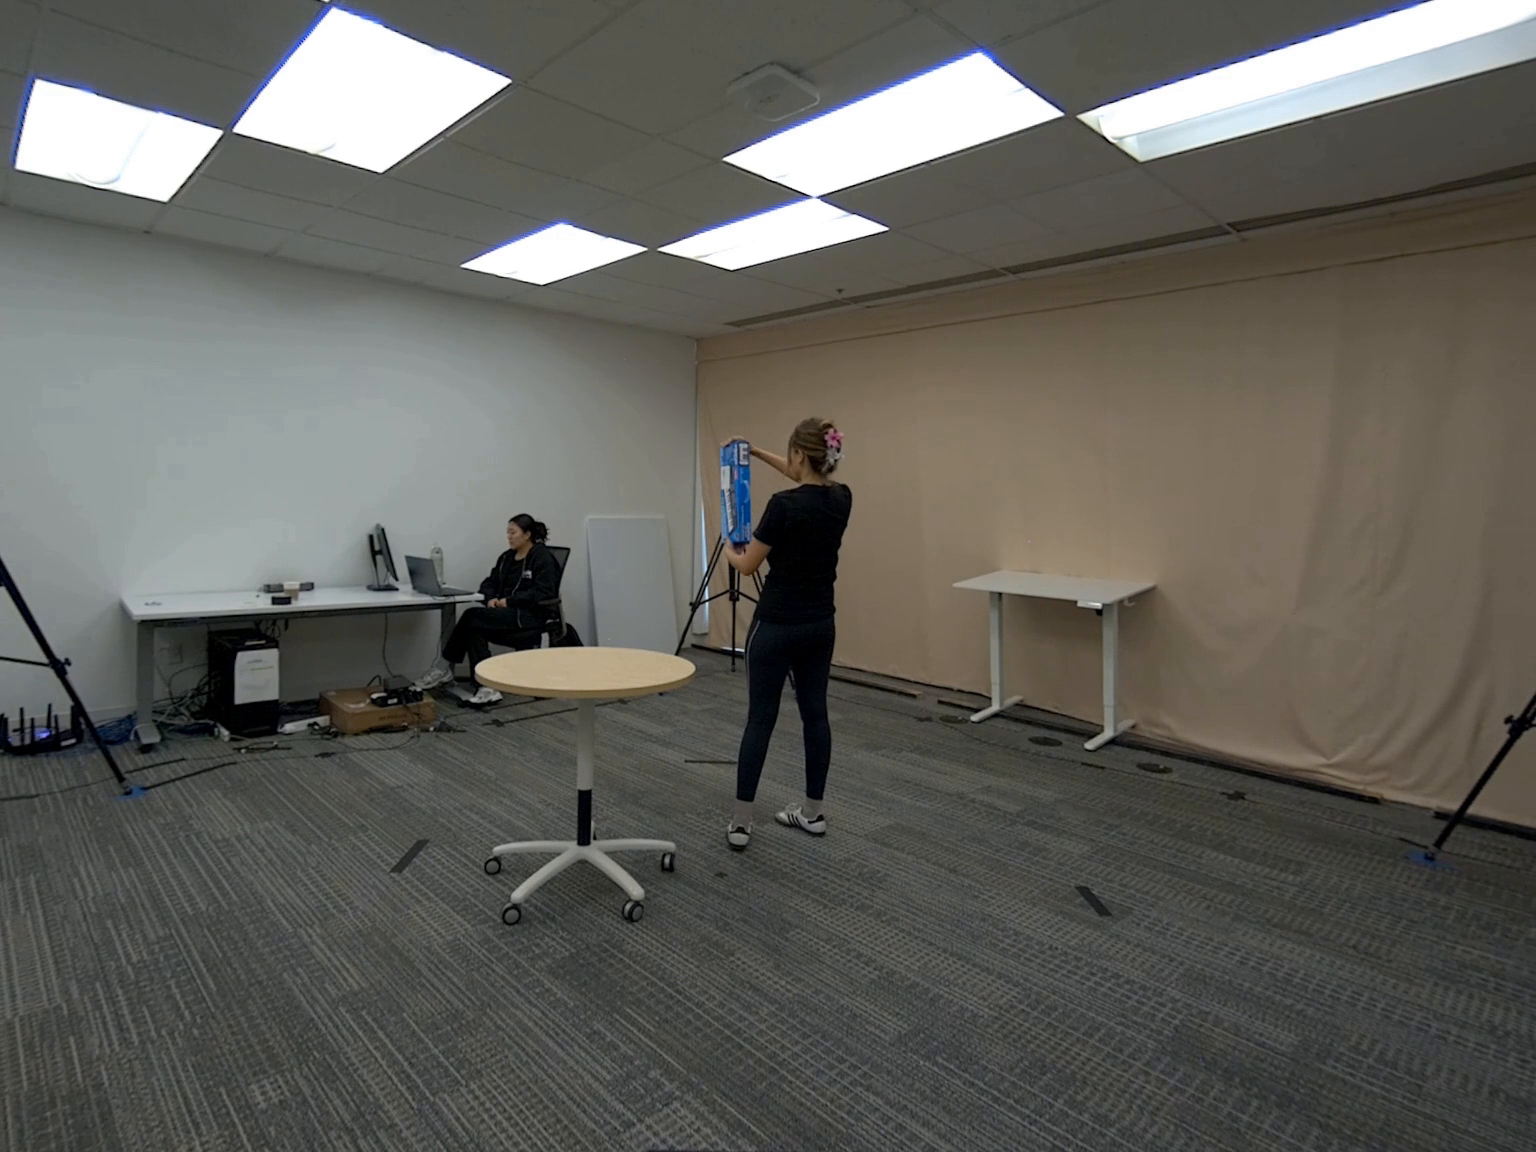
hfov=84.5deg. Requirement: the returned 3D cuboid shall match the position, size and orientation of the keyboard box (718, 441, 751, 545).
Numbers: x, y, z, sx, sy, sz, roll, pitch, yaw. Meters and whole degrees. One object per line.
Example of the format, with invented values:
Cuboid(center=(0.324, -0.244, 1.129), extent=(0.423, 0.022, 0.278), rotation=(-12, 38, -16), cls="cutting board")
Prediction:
Cuboid(center=(-0.149, -0.361, 3.713), extent=(0.058, 0.437, 0.179), rotation=(0, -2, -28), cls="keyboard box")
